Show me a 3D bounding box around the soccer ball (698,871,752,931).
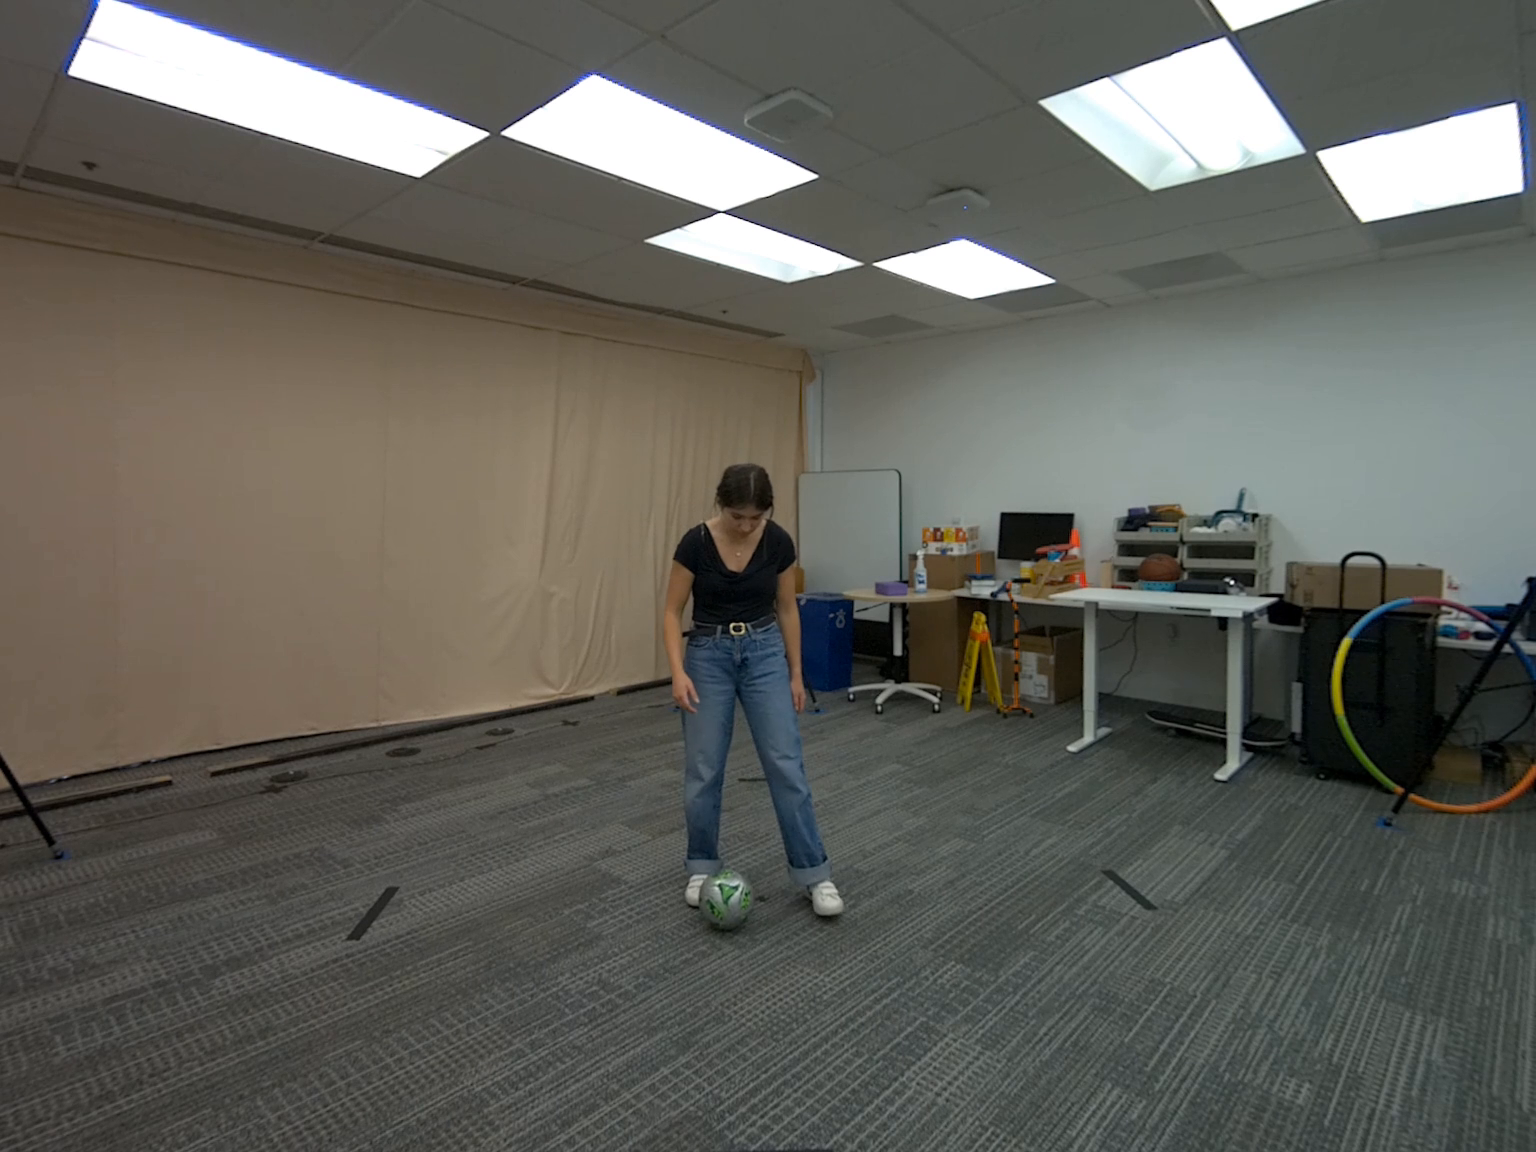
[{"bbox_3d":[-0.134,1.059,2.776,0.187,0.187,0.188,0,4,-2],"label":"soccer ball"}]
